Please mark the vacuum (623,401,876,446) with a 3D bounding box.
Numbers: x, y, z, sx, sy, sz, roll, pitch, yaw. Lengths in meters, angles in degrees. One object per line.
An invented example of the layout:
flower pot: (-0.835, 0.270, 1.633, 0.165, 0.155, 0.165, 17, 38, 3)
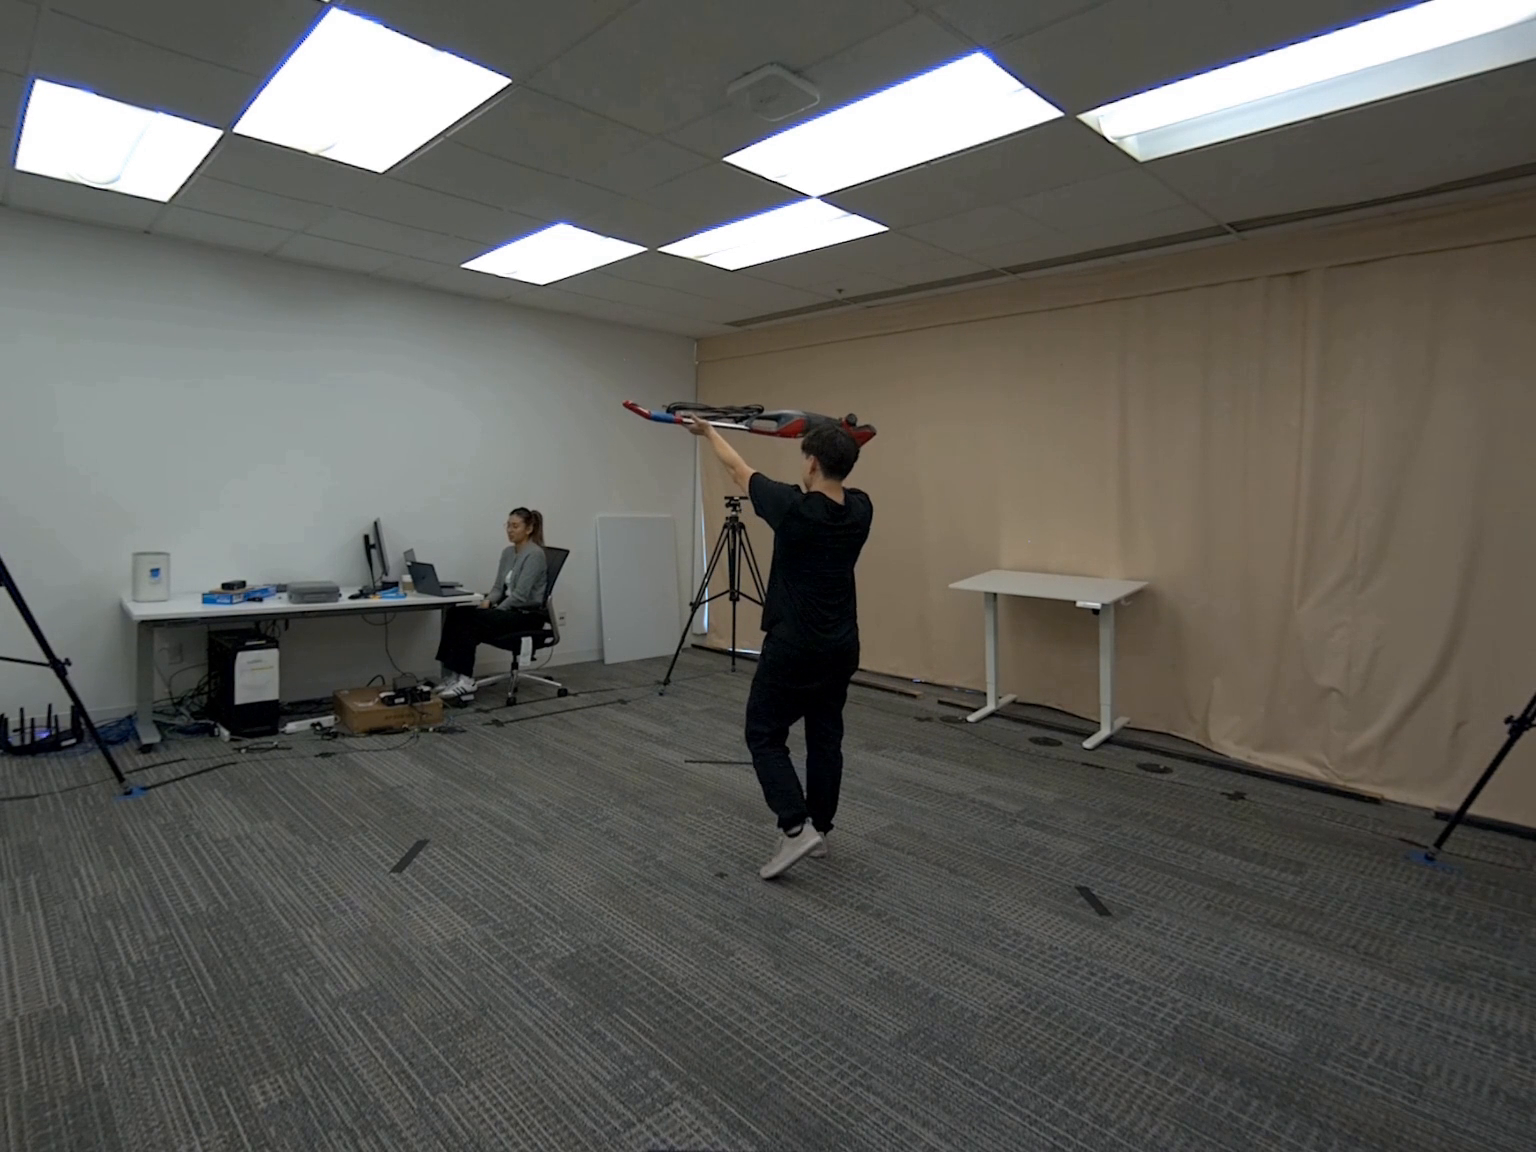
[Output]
vacuum: (-0.093, -0.645, 3.477, 1.029, 0.146, 0.254, 3, -19, -26)
